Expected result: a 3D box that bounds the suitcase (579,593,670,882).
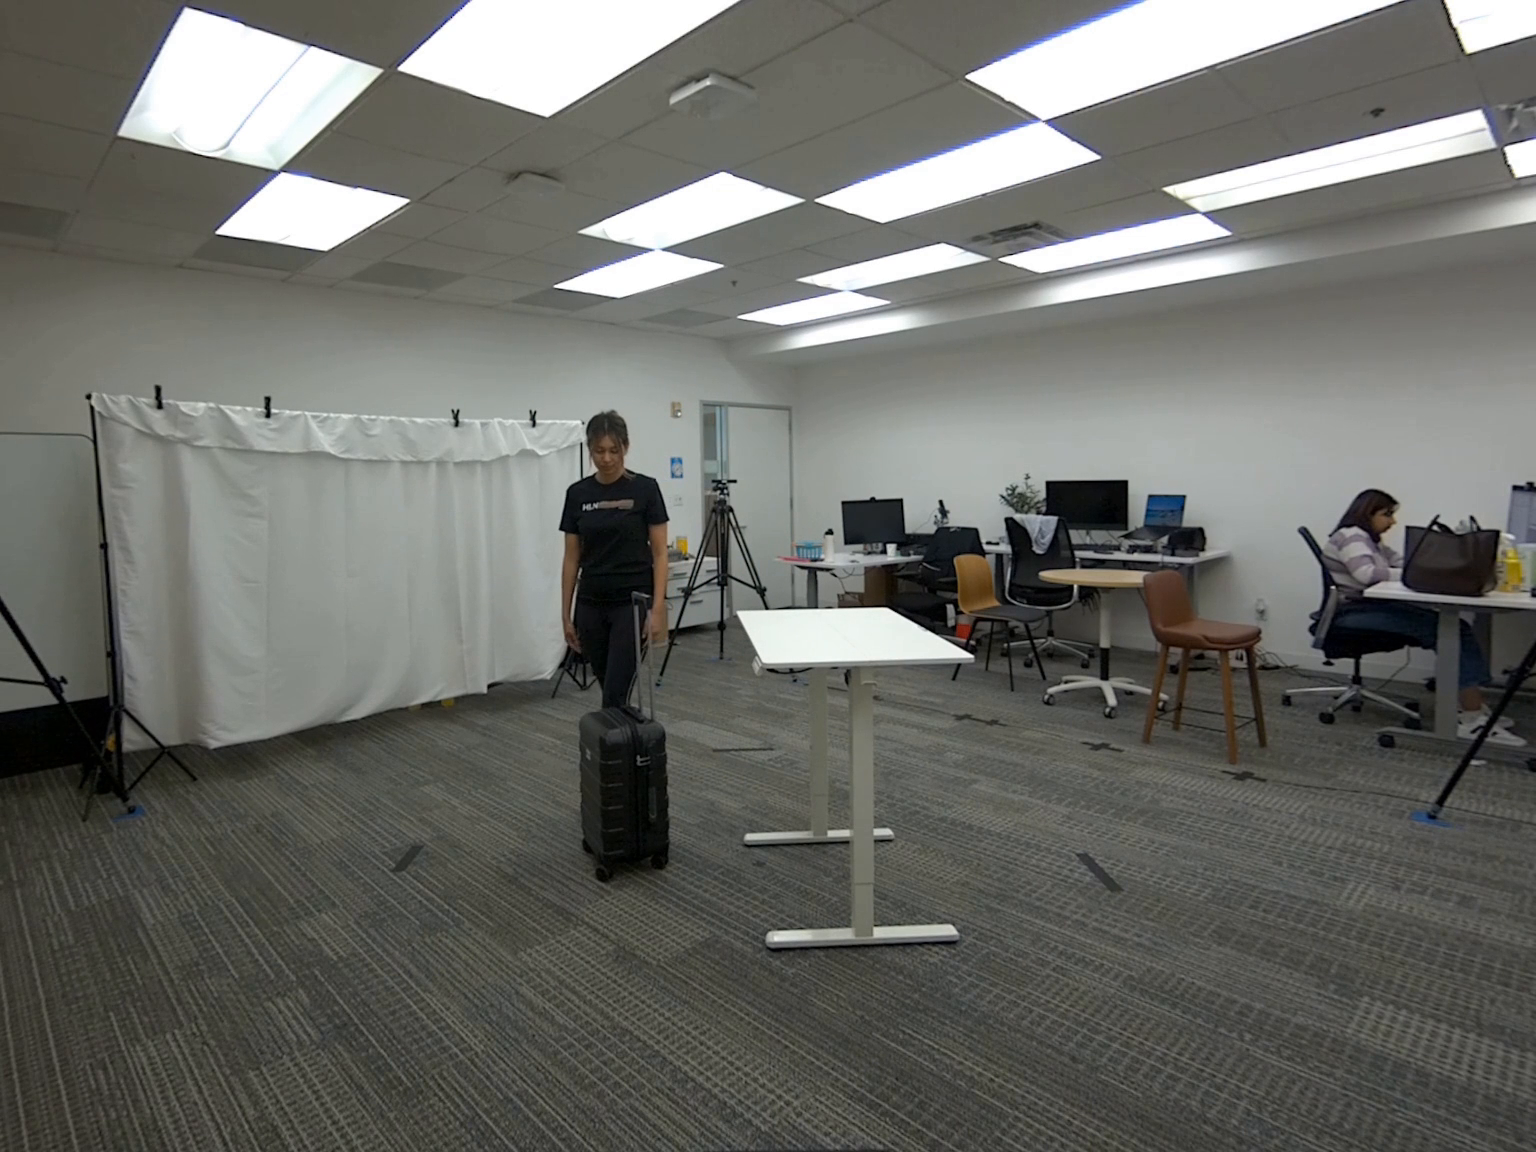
[{"bbox_3d":[-0.539,0.572,3.142,0.252,0.975,0.393,-4,4,-23],"label":"suitcase"}]
